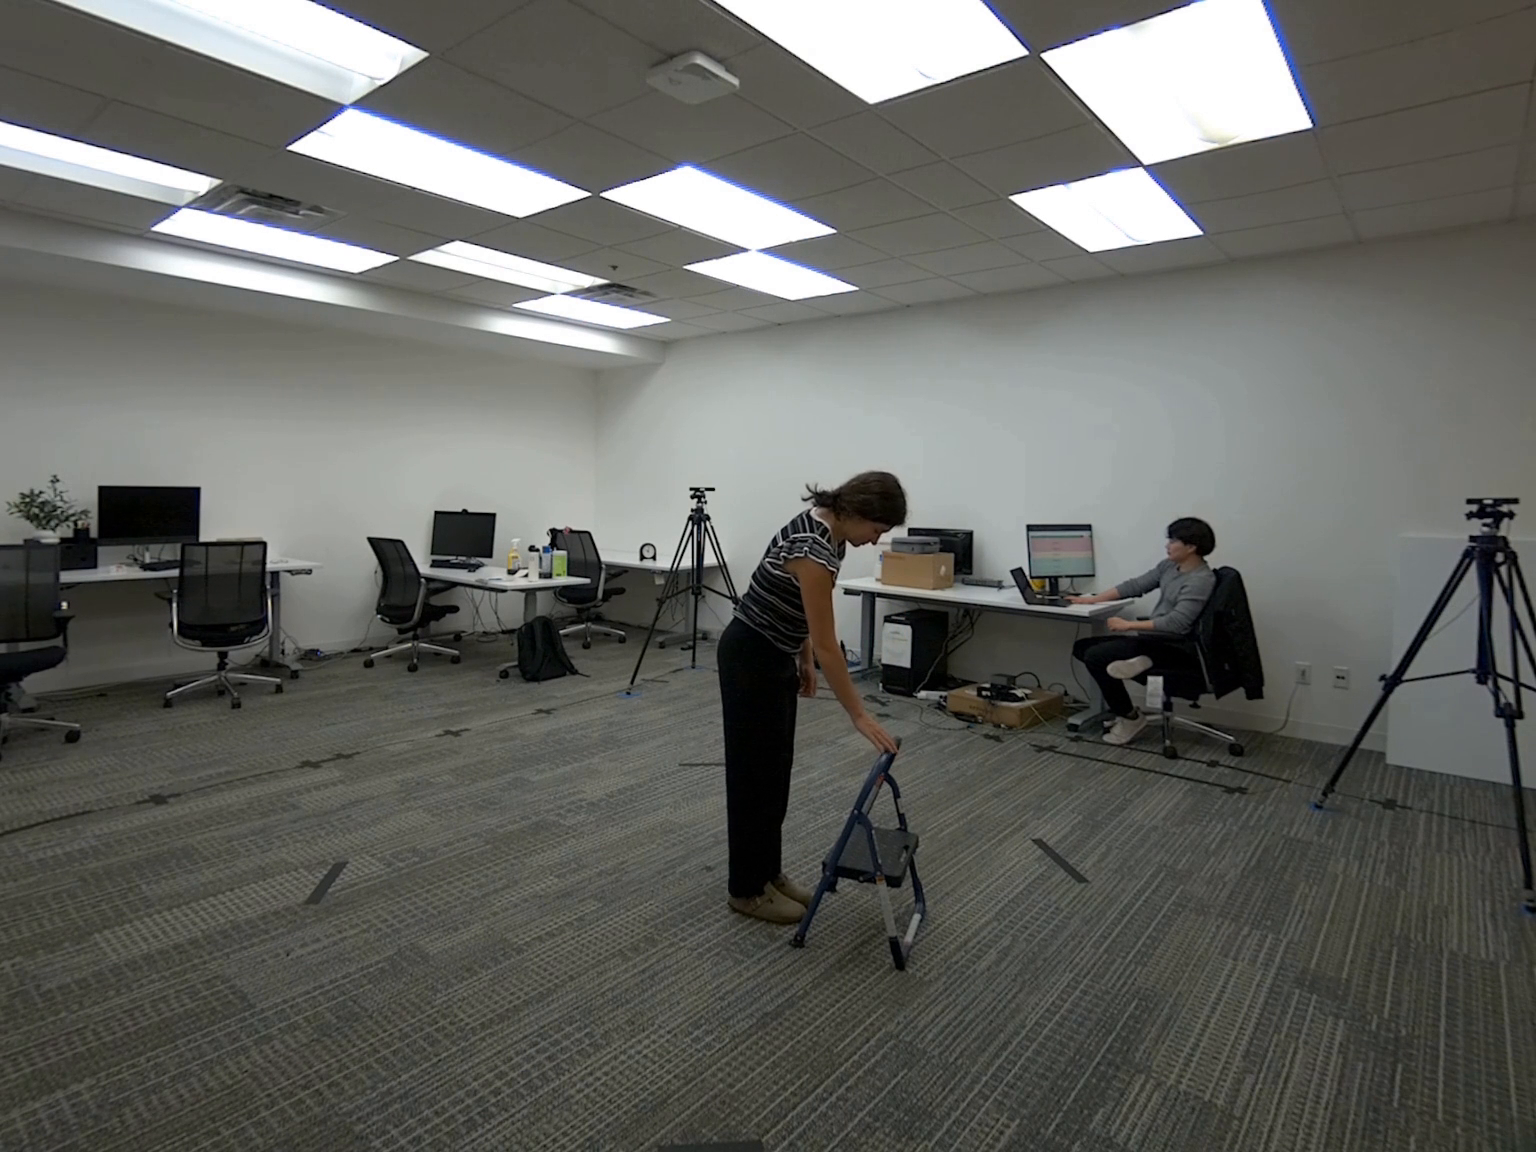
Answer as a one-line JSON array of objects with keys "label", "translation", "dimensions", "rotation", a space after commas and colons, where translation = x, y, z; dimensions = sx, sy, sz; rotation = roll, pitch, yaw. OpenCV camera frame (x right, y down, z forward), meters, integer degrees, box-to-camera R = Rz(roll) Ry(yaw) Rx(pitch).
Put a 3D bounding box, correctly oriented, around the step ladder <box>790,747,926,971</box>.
[{"label": "step ladder", "translation": [0.304, 0.817, 2.702], "dimensions": [0.357, 0.604, 0.422], "rotation": [3, 4, 20]}]
